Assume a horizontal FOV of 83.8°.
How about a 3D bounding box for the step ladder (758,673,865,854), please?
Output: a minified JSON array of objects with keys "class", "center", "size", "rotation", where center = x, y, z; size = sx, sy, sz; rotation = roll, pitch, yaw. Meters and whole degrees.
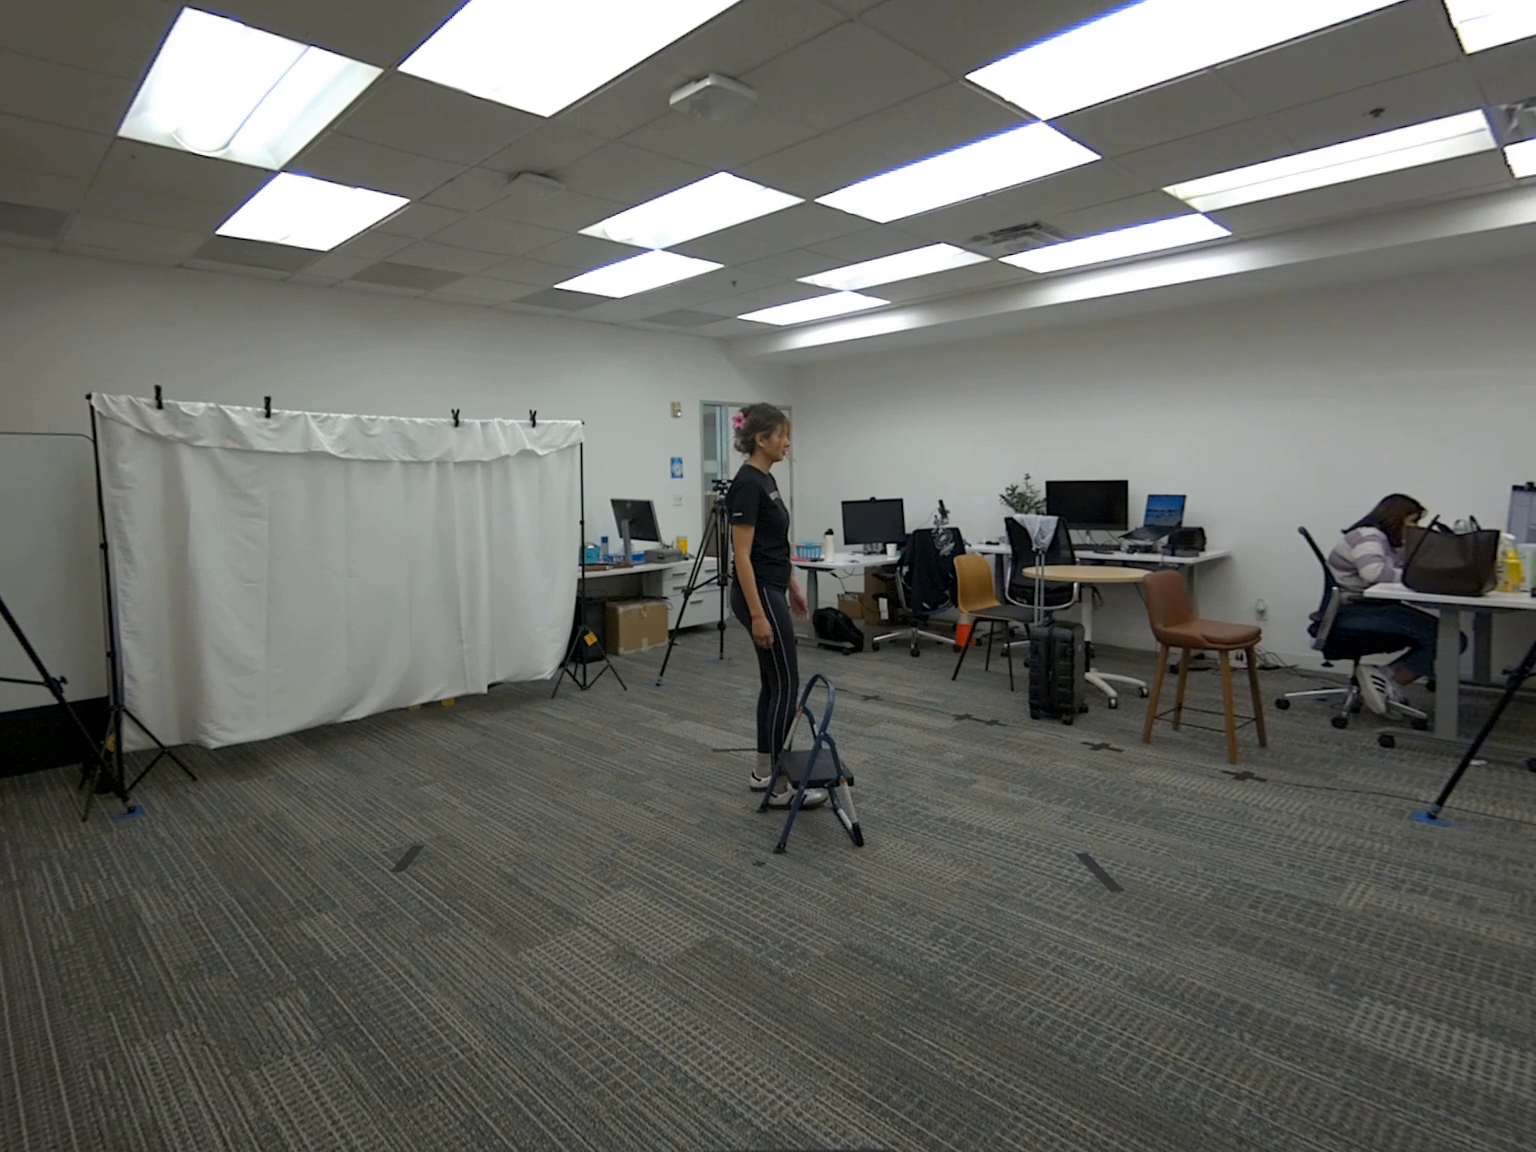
[{"class":"step ladder","center":[0.161,0.708,3.401],"size":[0.347,0.604,0.435],"rotation":[-2,5,-8]}]
